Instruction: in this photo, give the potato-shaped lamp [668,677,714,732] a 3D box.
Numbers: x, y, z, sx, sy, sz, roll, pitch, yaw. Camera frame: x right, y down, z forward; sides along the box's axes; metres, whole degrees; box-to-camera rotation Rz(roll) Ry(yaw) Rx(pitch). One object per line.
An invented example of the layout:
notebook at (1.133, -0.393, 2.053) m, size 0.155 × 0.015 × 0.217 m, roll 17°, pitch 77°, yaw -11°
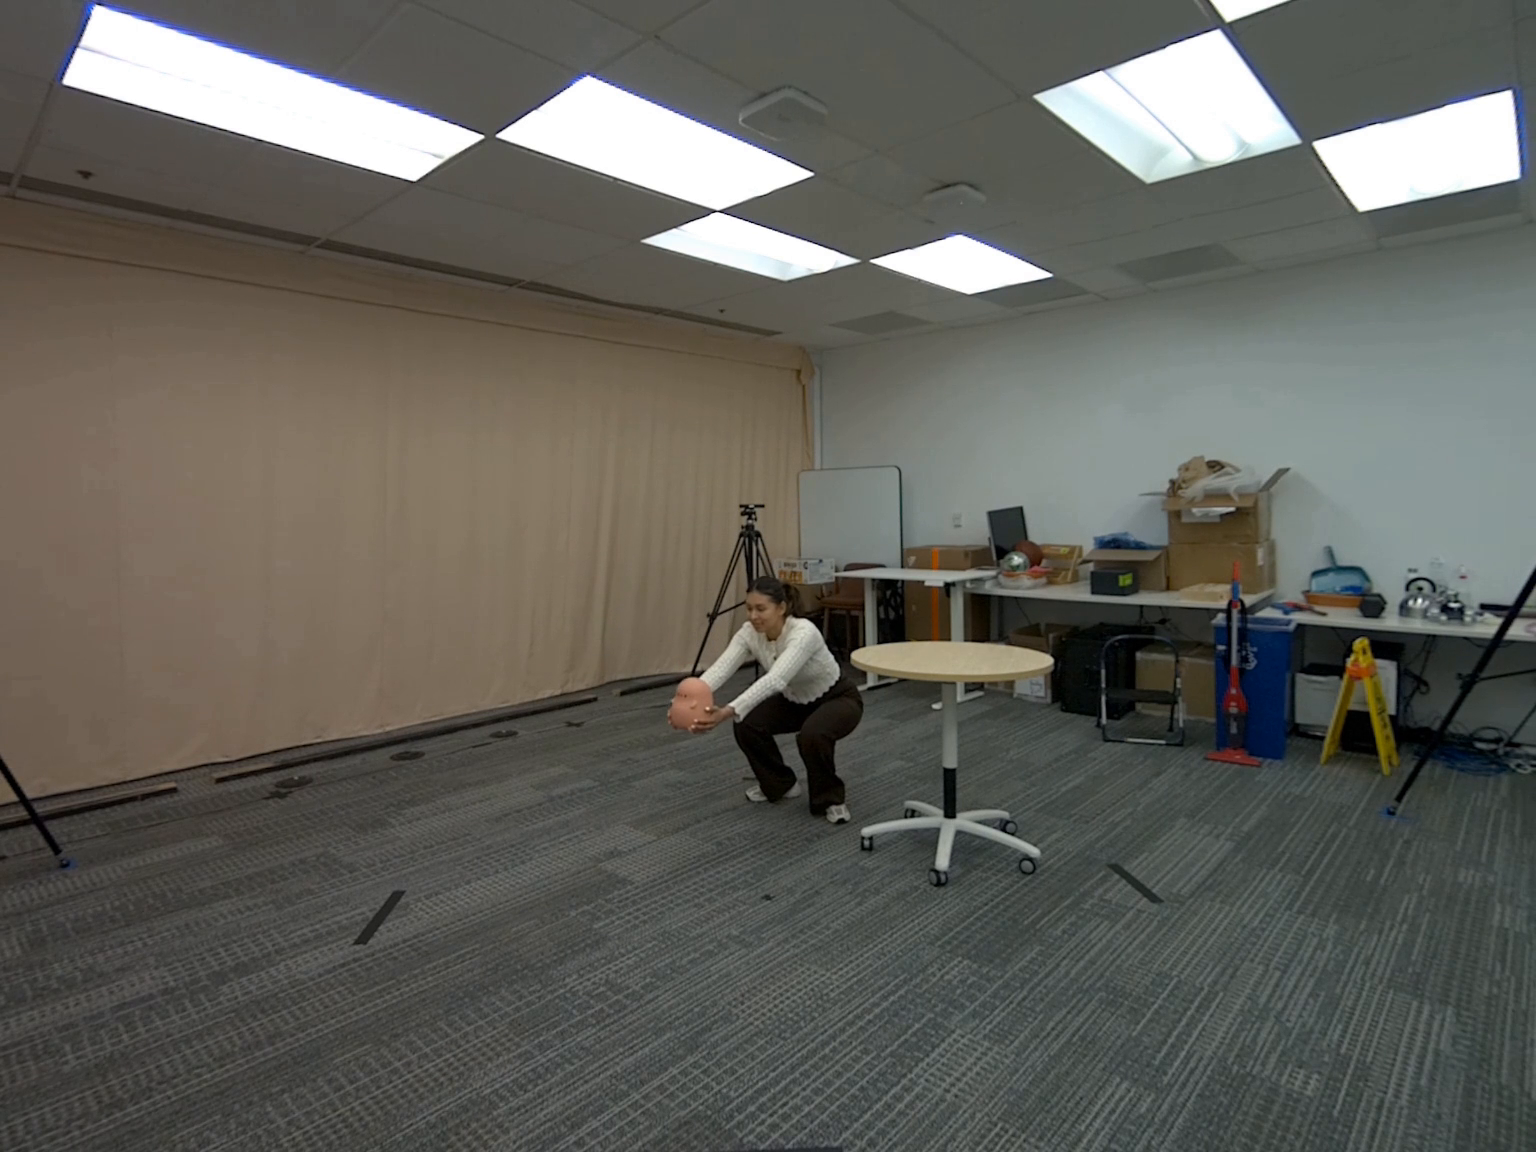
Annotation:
potato-shaped lamp at (-0.295, 0.502, 3.330) m, size 0.167 × 0.197 × 0.170 m, roll -12°, pitch 14°, yaw -43°
